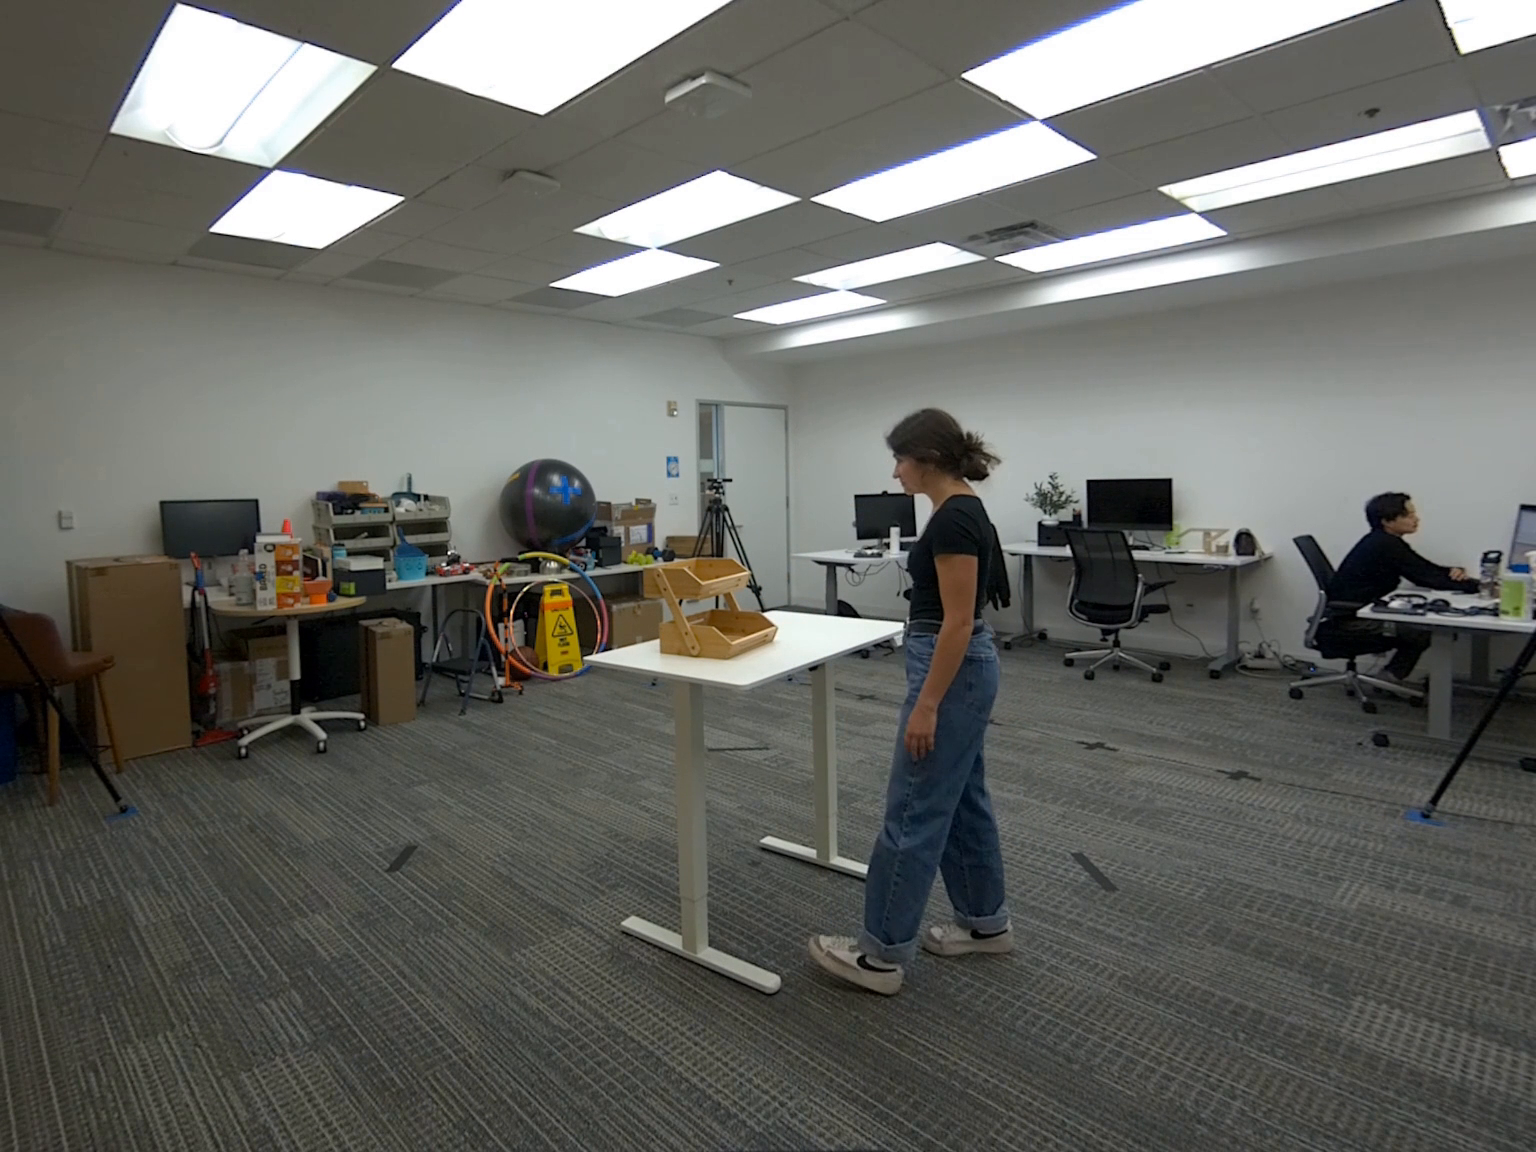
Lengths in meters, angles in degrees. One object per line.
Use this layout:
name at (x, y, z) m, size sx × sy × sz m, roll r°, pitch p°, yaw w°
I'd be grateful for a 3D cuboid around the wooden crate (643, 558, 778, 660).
wooden crate at (-0.168, 0.088, 2.638) m, size 0.309 × 0.272 × 0.318 m, roll 0°, pitch 6°, yaw 28°
